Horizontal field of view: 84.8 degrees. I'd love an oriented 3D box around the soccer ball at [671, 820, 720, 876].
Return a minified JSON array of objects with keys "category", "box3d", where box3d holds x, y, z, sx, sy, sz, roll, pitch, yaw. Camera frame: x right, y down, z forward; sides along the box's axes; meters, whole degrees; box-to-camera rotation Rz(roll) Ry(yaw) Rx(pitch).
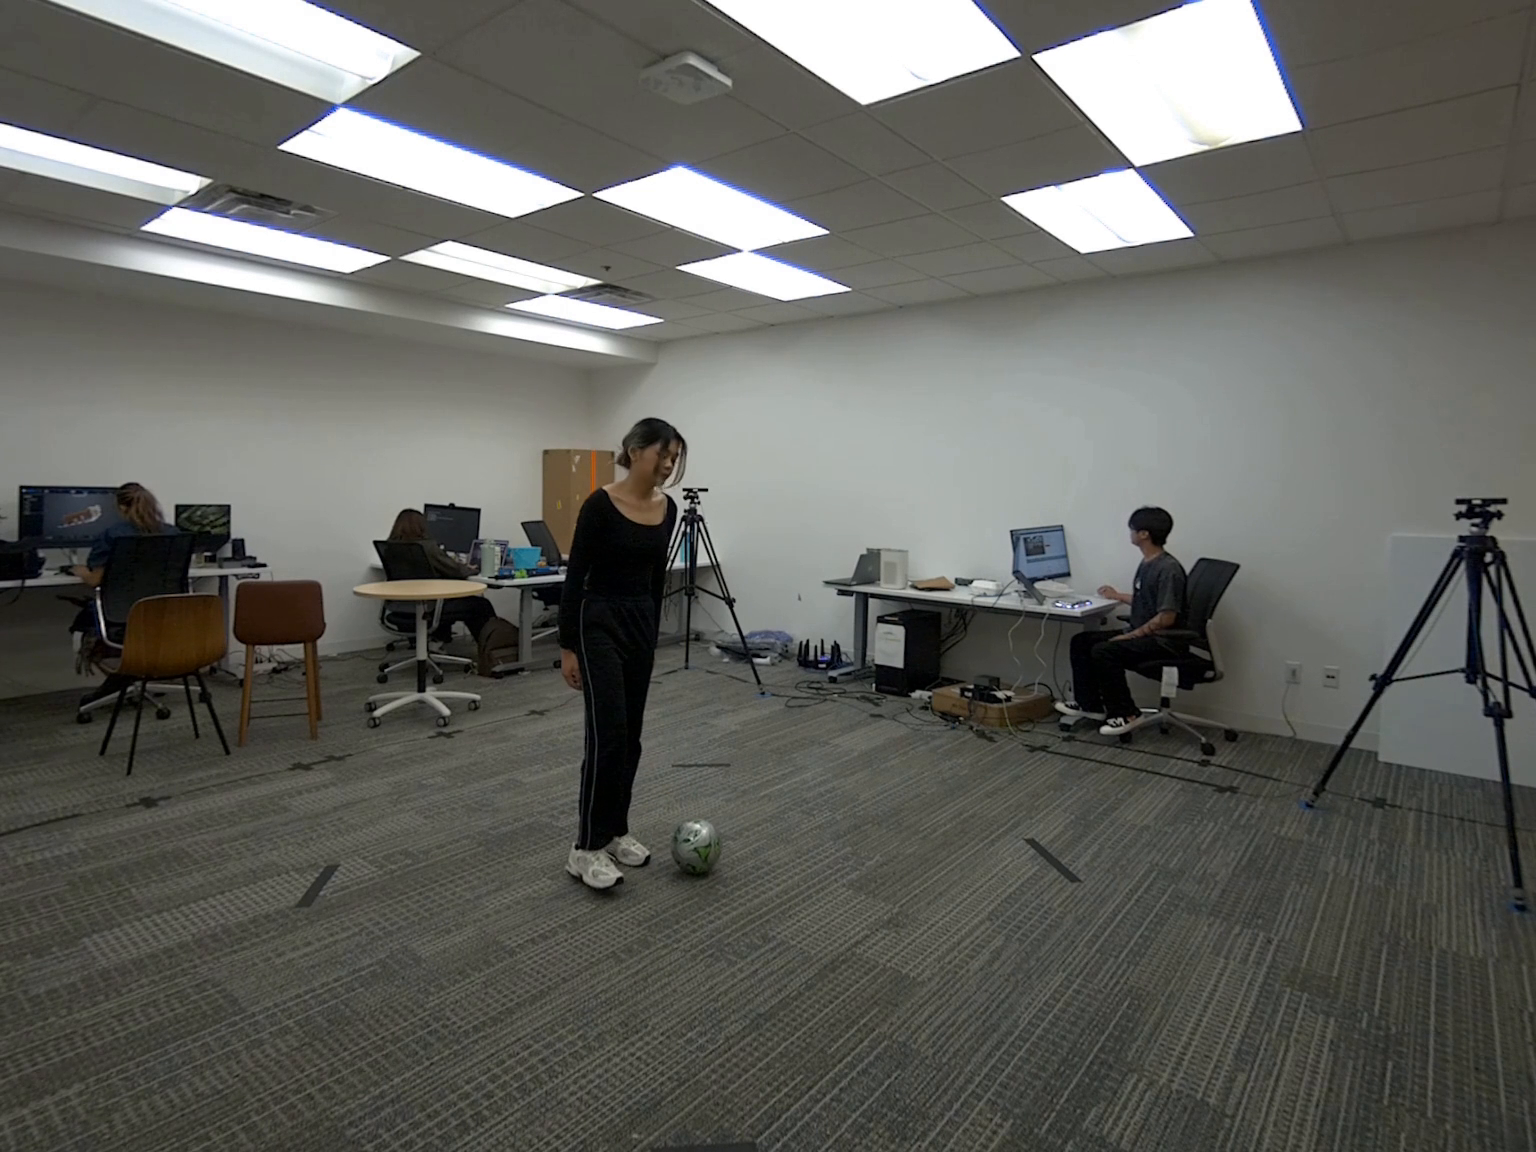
[{"category":"soccer ball","box3d":[-0.272,0.981,3.085,0.187,0.187,0.188,1,4,-2]}]
